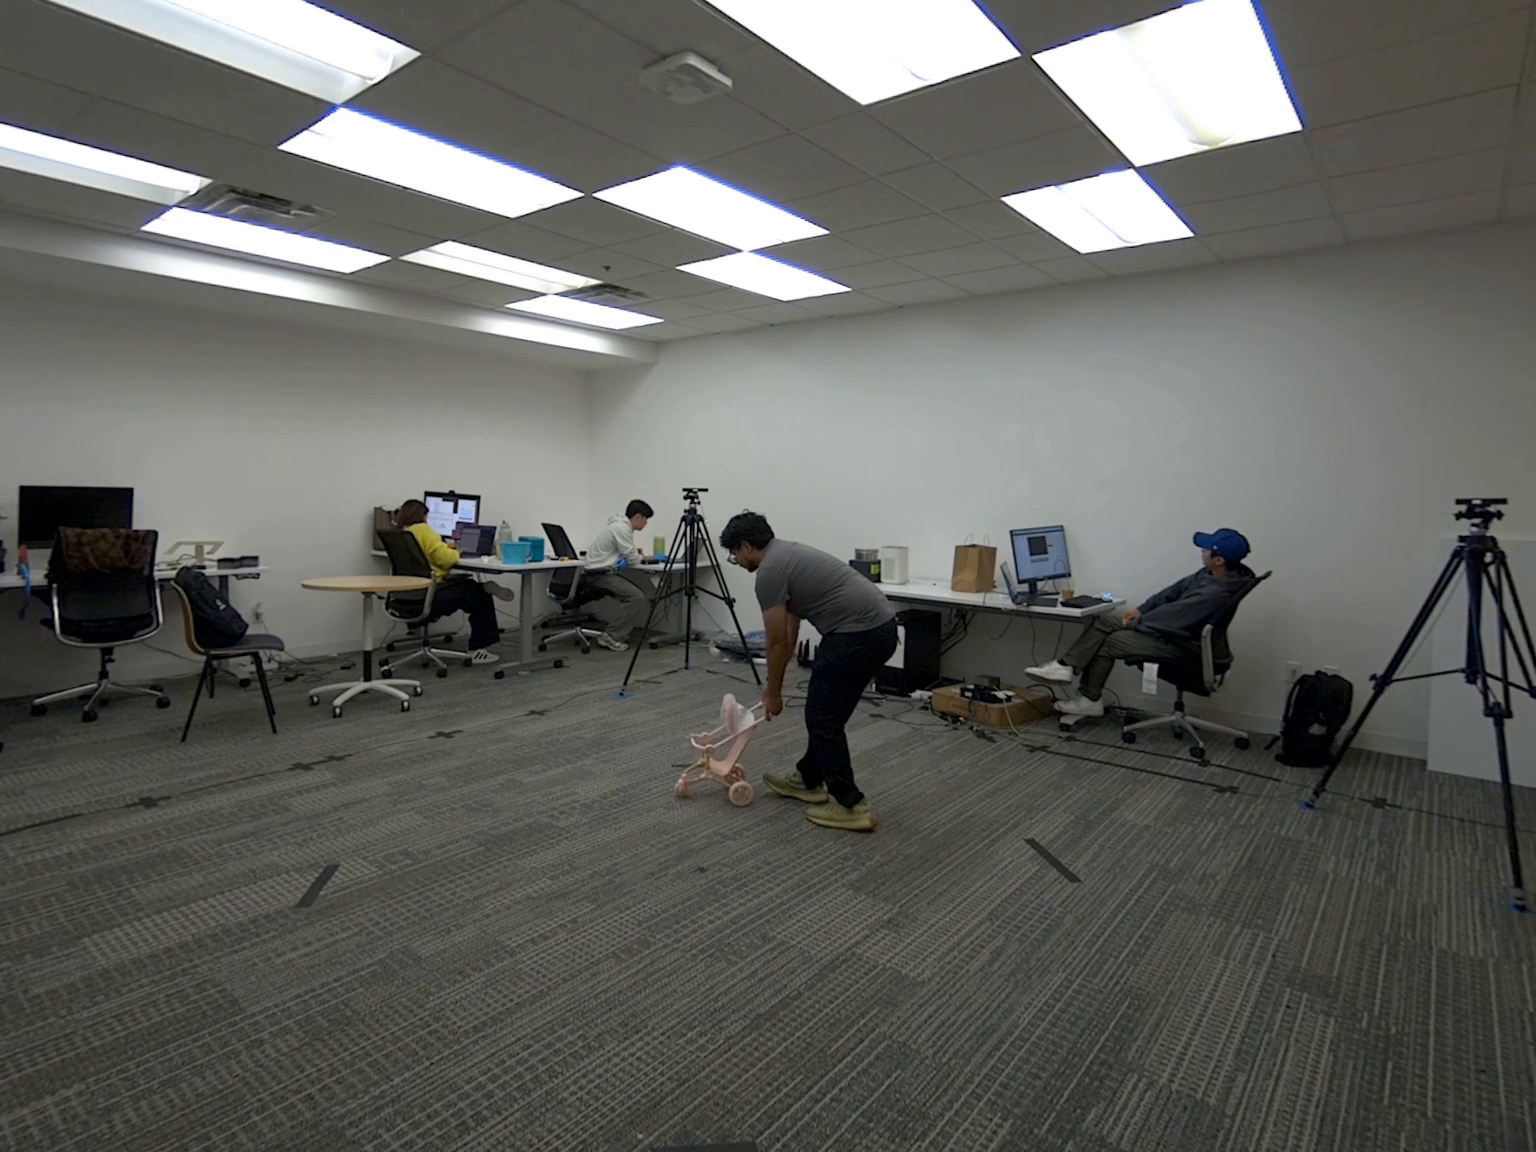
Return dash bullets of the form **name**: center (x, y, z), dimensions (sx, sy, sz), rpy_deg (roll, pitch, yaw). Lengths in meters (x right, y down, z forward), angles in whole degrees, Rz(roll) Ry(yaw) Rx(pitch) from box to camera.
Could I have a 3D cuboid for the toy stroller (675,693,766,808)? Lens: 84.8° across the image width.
- **toy stroller**: center (-0.209, 0.776, 3.860), dimensions (0.340, 0.534, 0.283), rpy_deg (17, 2, -4)
